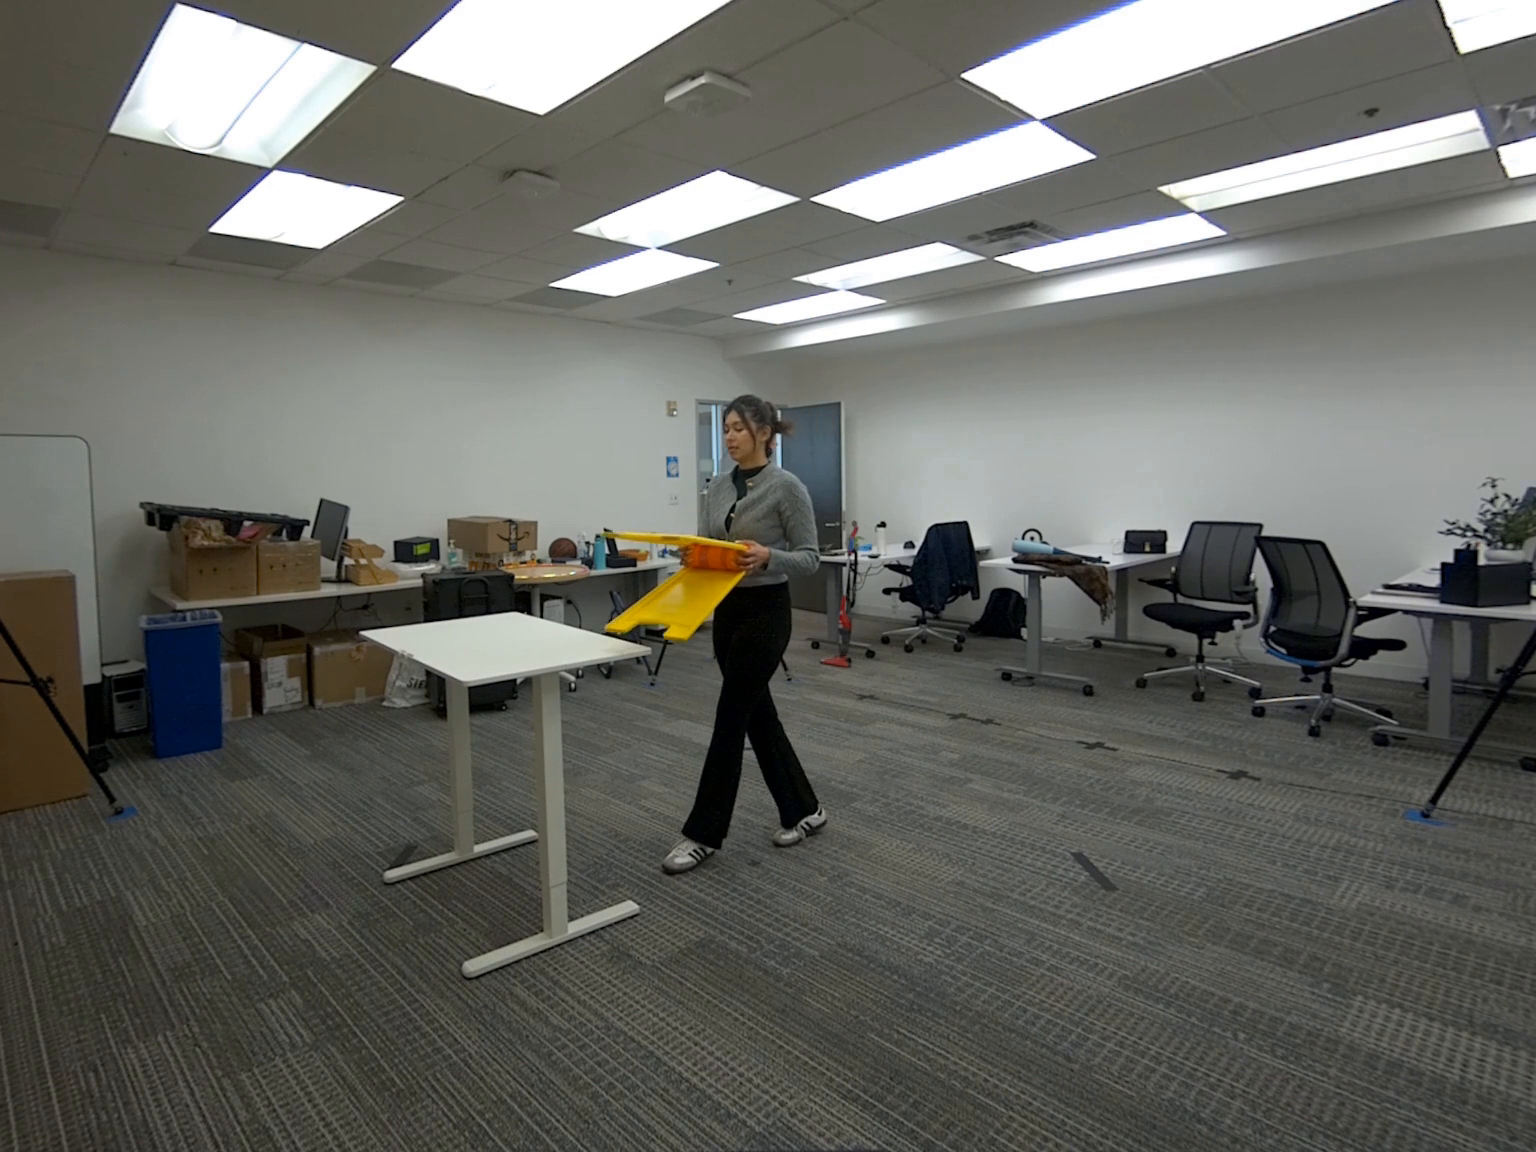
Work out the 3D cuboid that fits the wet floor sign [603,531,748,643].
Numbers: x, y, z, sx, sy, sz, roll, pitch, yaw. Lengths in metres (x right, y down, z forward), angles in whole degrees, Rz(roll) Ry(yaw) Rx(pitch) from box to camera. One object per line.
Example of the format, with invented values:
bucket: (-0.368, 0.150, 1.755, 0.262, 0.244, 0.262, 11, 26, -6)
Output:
wet floor sign: (-0.238, -0.035, 2.749, 0.289, 0.287, 0.638, 4, 13, 23)
